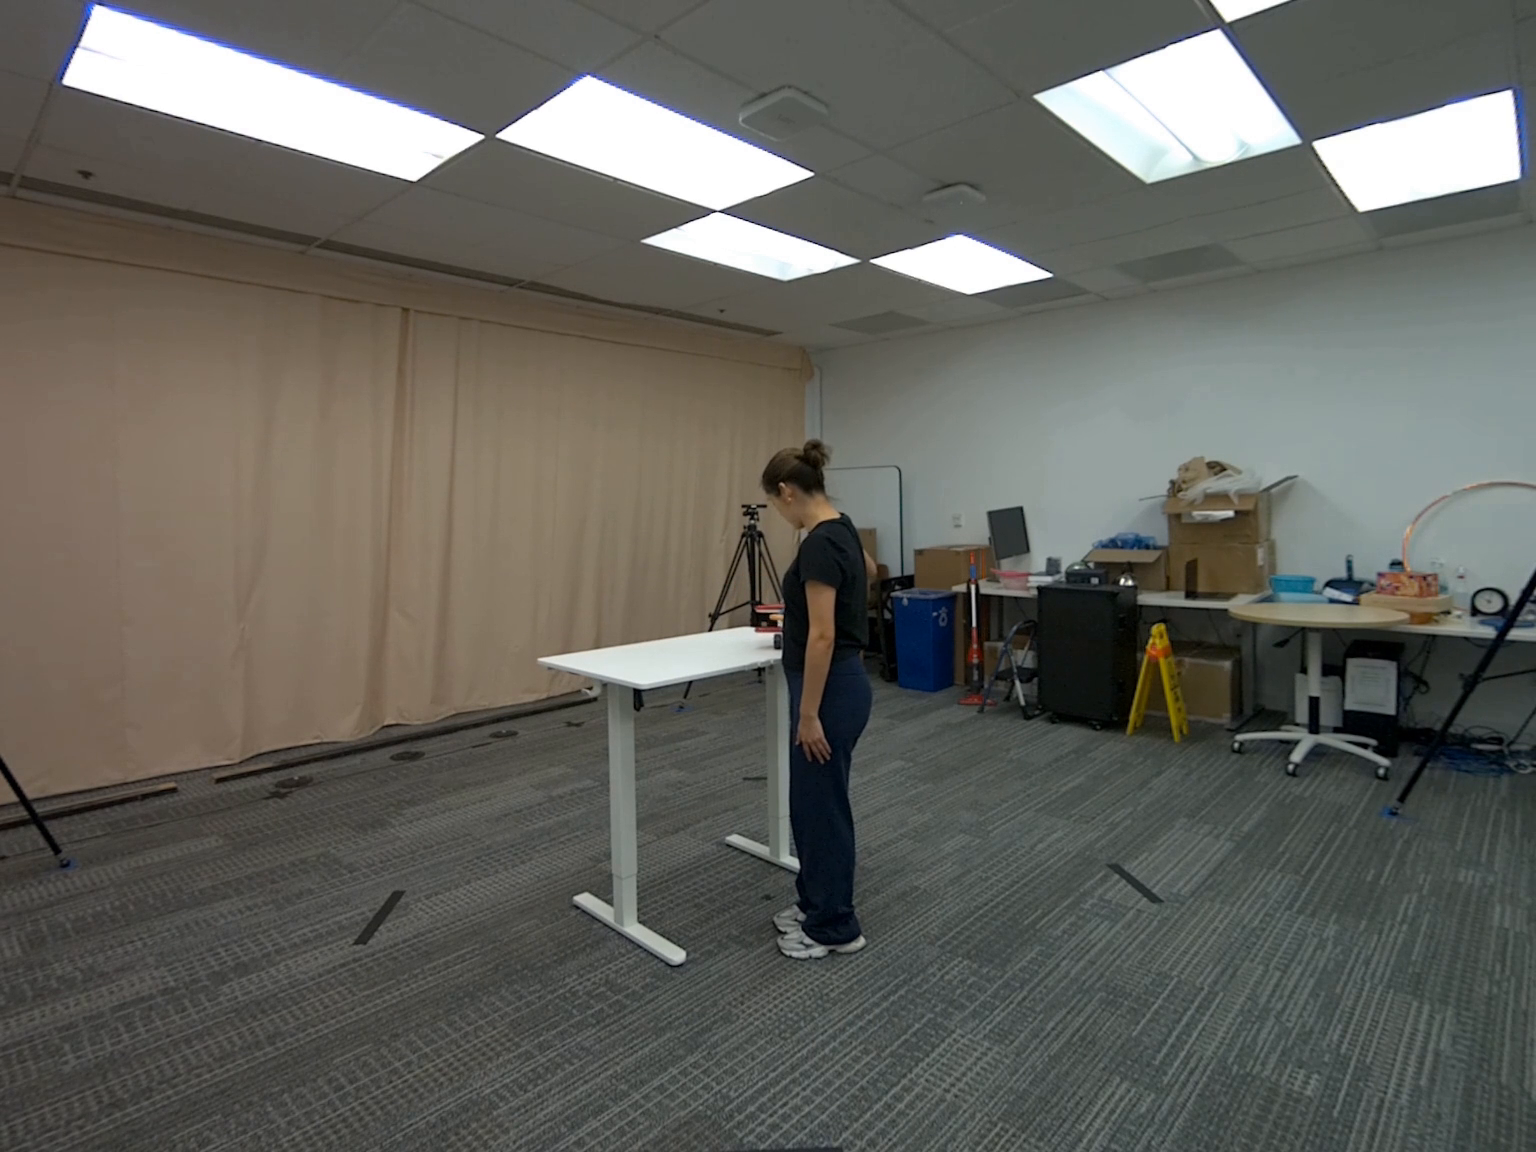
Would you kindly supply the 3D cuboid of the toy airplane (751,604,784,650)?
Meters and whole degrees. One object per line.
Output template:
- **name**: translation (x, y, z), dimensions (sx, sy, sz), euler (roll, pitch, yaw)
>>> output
- **toy airplane**: translation (0.087, 0.173, 3.052), dimensions (0.246, 0.156, 0.265), euler (-2, 5, -21)
